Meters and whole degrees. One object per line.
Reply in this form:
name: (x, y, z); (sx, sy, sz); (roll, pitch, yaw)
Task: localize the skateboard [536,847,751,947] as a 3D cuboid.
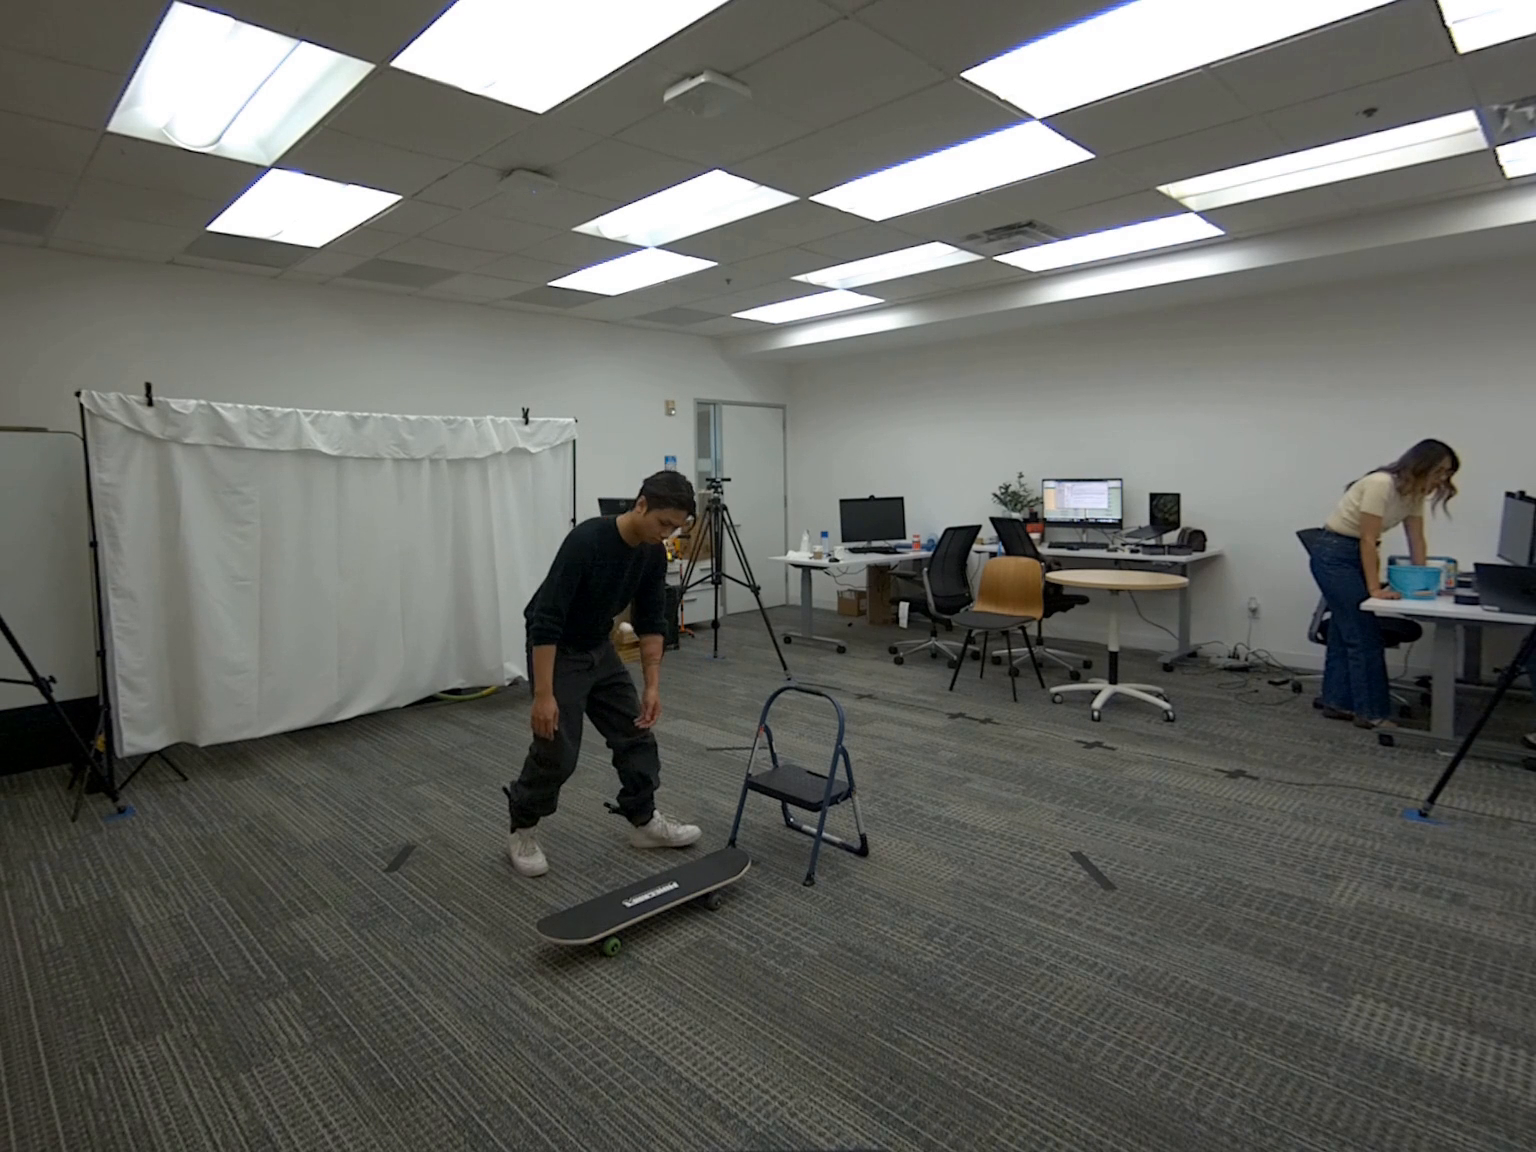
skateboard: (-0.371, 1.040, 2.709); (0.765, 0.110, 0.199); (-7, 9, -41)
